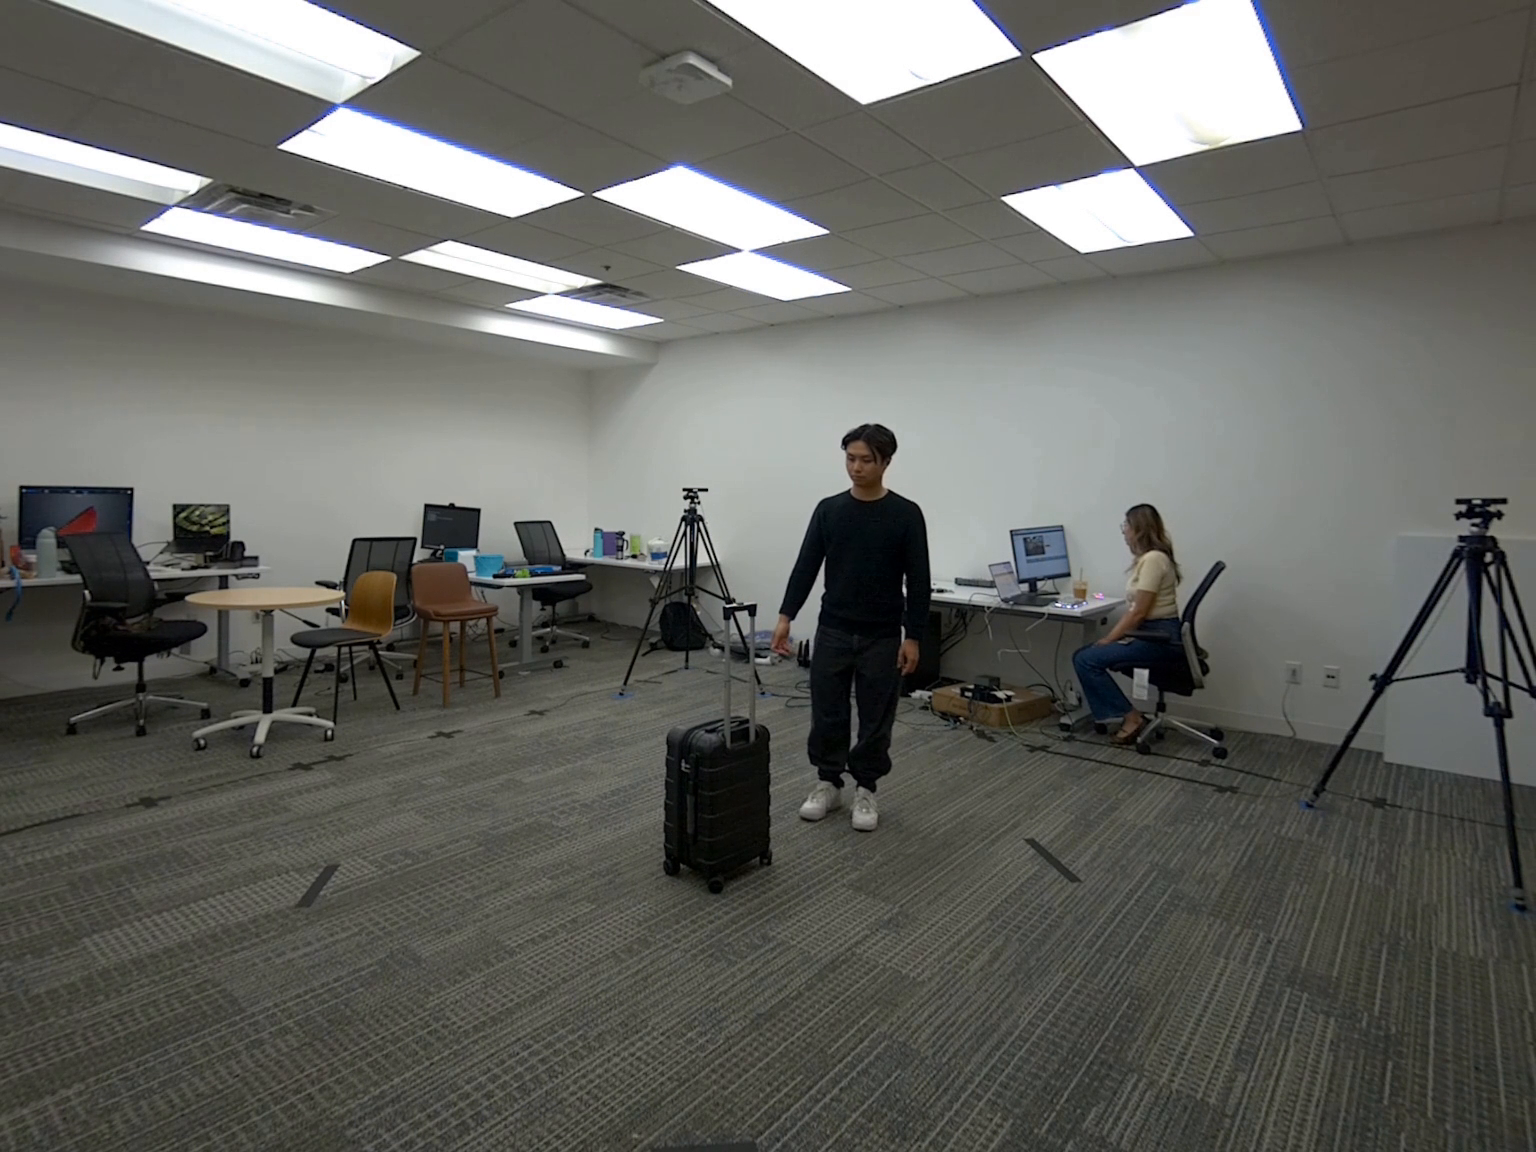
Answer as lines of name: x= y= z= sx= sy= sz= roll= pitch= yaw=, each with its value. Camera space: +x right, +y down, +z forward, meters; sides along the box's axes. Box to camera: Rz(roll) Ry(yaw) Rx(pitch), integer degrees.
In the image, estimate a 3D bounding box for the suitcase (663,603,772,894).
suitcase: x=-0.194 y=0.590 z=3.101 sx=0.265 sy=0.977 sz=0.372 roll=1 pitch=2 yaw=40
